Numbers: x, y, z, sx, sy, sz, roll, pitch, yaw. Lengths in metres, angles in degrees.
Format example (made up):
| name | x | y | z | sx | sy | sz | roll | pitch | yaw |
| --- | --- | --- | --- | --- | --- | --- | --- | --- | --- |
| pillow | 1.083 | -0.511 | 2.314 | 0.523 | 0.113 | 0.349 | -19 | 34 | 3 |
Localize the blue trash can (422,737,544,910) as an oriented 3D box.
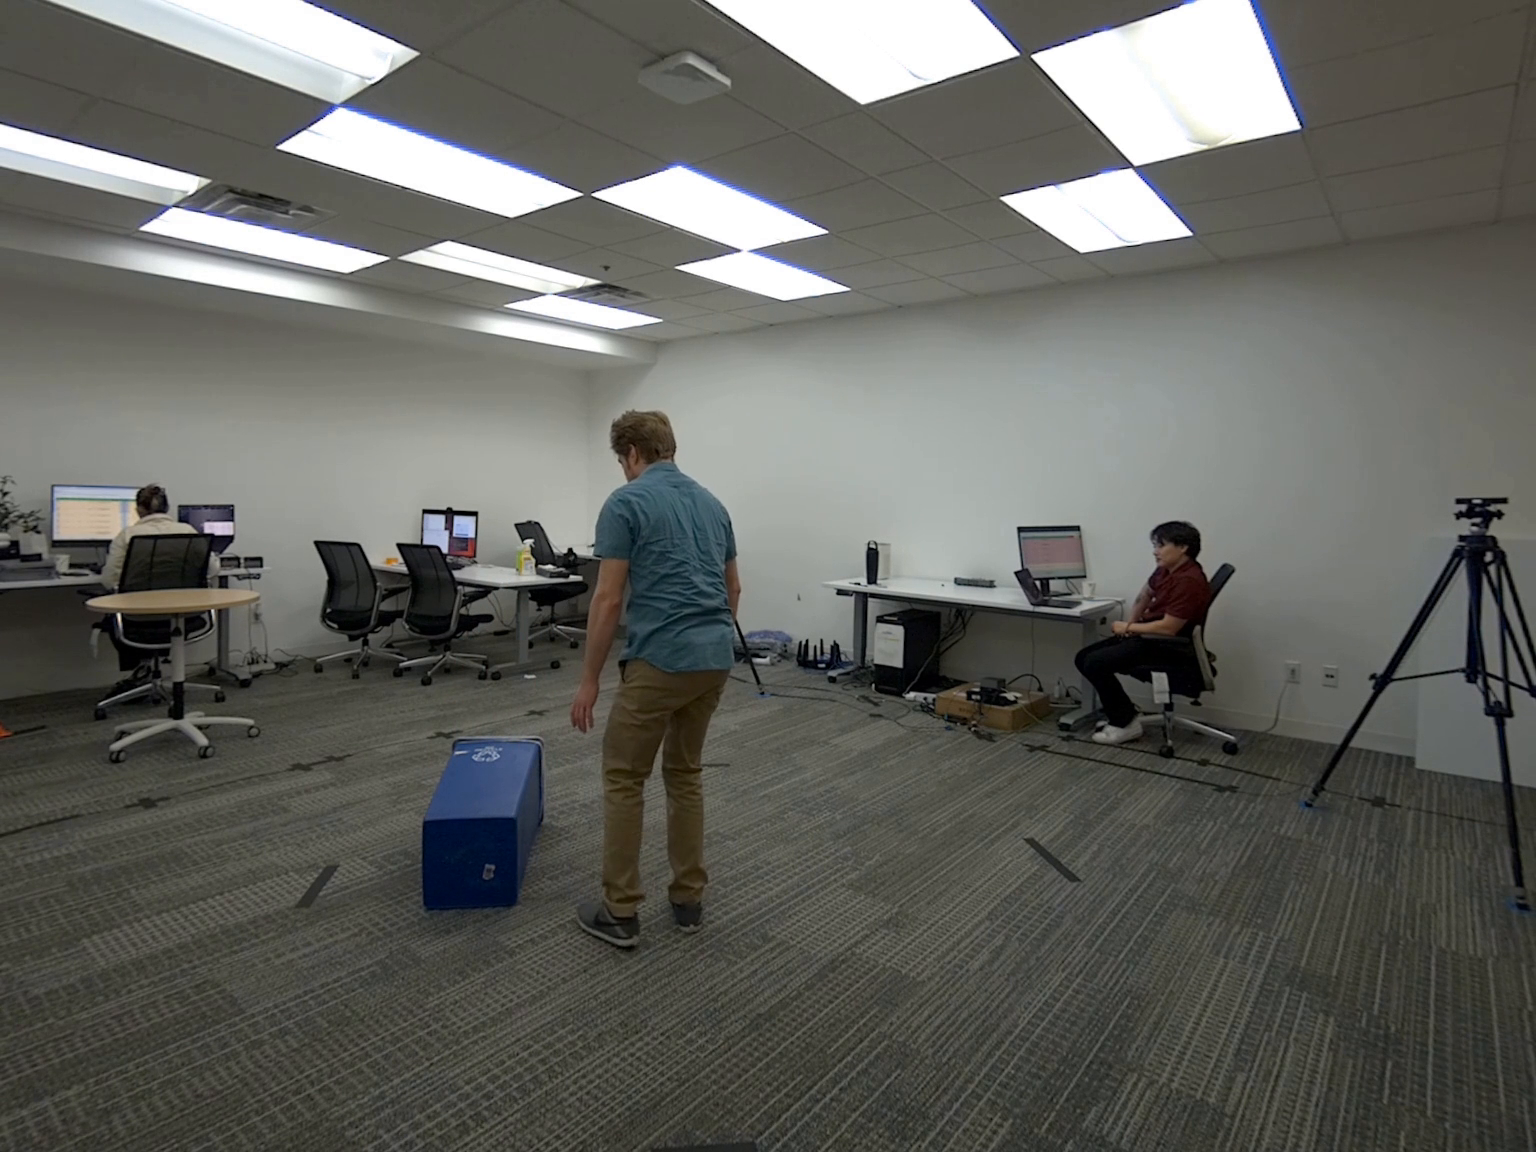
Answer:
| name | x | y | z | sx | sy | sz | roll | pitch | yaw |
| --- | --- | --- | --- | --- | --- | --- | --- | --- | --- |
| blue trash can | -1.048 | 0.890 | 3.130 | 0.370 | 0.376 | 0.725 | 1 | 8 | -10 |
